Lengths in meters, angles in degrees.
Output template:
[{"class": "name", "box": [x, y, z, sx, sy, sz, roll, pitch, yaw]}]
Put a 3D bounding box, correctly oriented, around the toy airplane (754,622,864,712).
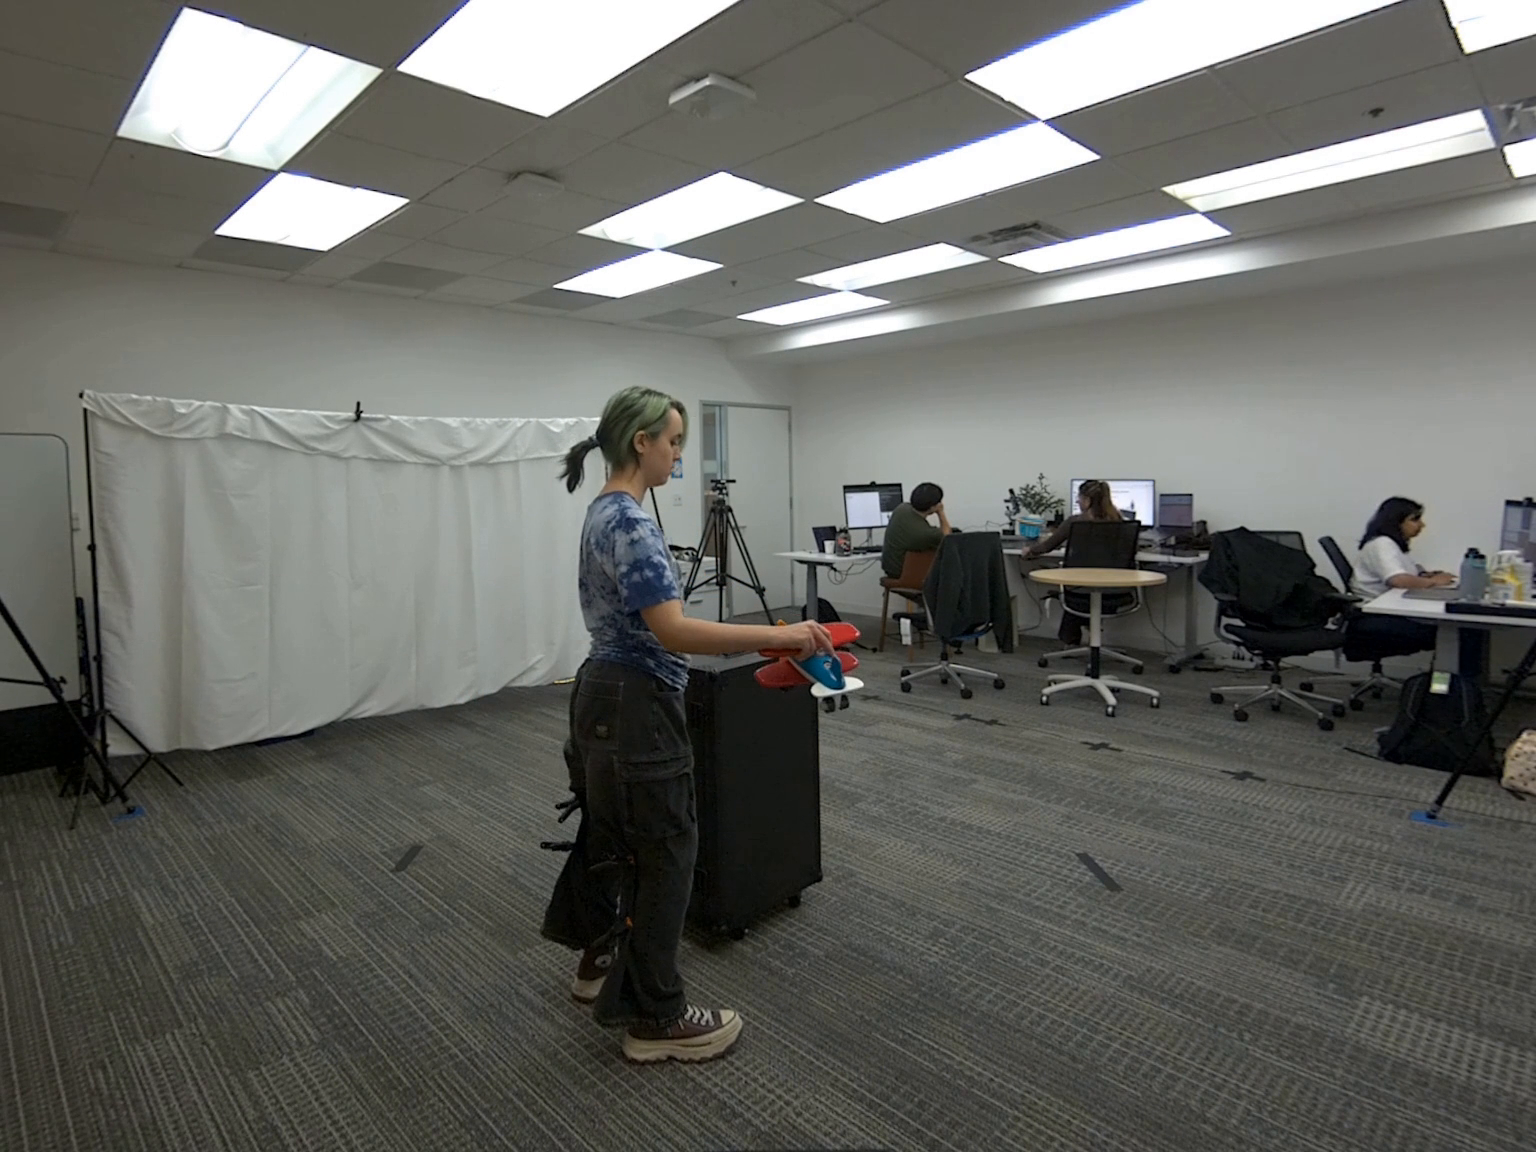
[{"class": "toy airplane", "box": [0.129, 0.203, 1.962, 0.267, 0.155, 0.245, 2, 10, 41]}]
